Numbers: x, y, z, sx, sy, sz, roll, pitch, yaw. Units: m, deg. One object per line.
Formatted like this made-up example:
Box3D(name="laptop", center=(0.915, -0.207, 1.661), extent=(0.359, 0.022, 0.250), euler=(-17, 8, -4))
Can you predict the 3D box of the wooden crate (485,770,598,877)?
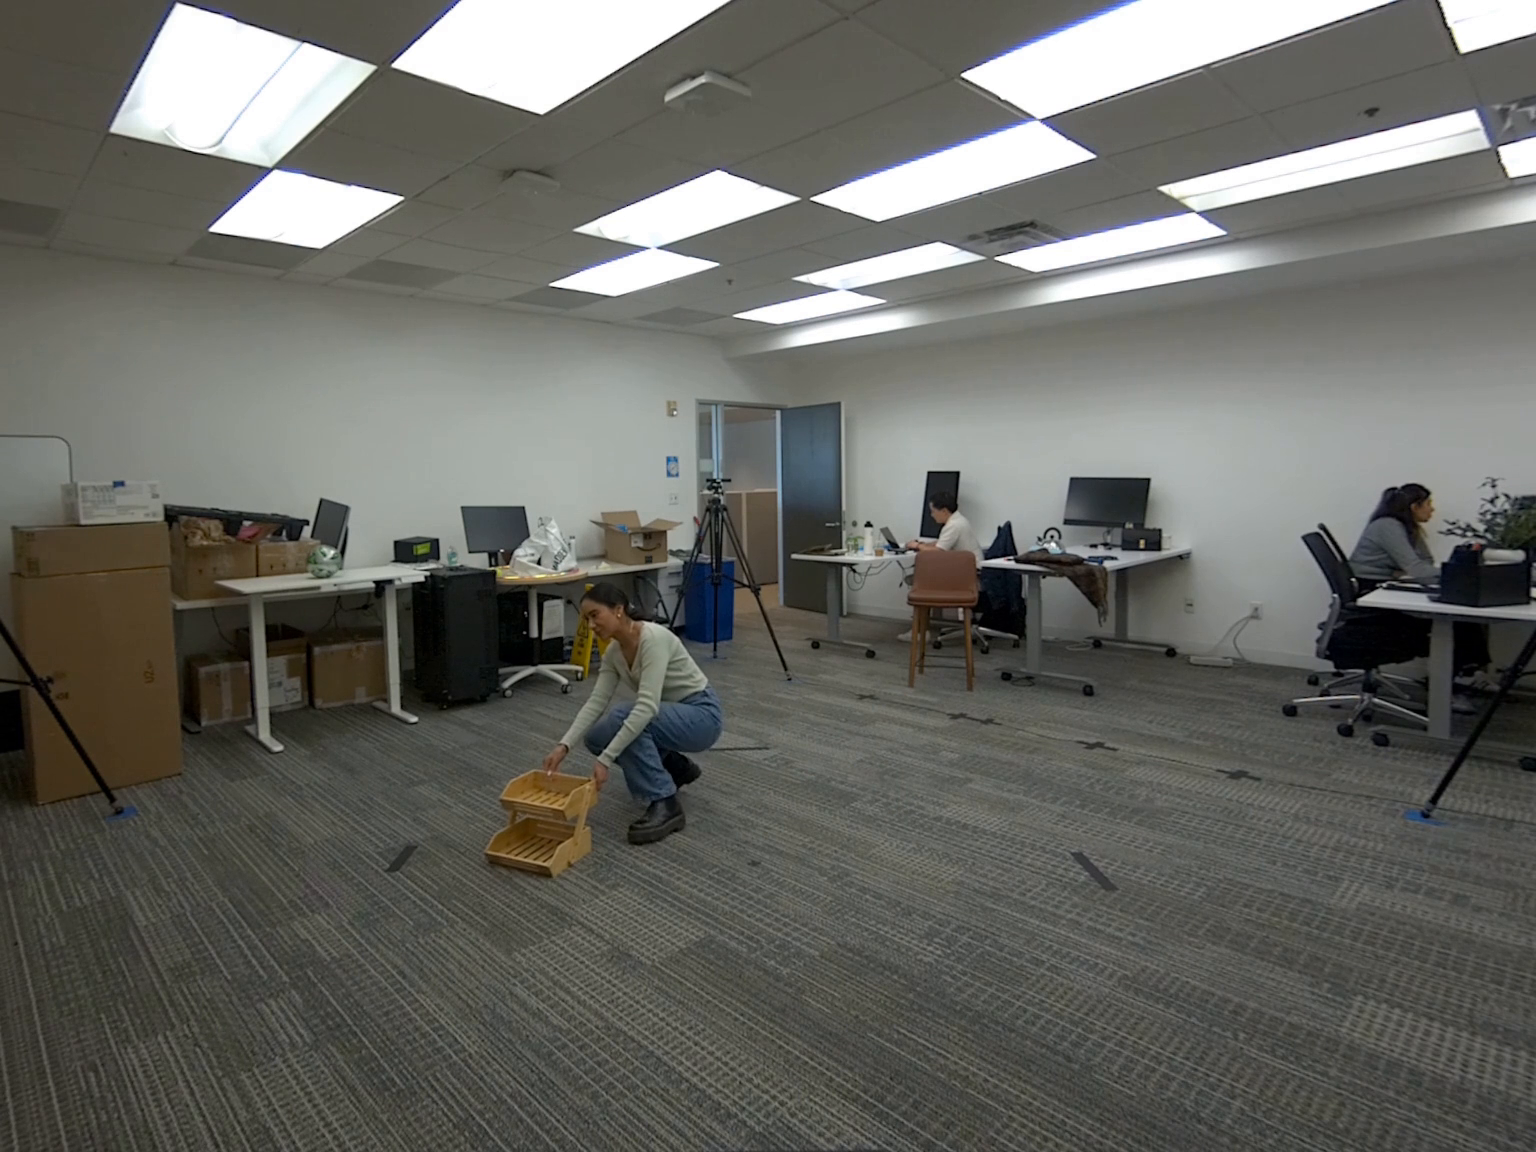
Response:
Box3D(name="wooden crate", center=(-0.846, 0.915, 3.202), extent=(0.332, 0.272, 0.296), euler=(1, 4, 25))
